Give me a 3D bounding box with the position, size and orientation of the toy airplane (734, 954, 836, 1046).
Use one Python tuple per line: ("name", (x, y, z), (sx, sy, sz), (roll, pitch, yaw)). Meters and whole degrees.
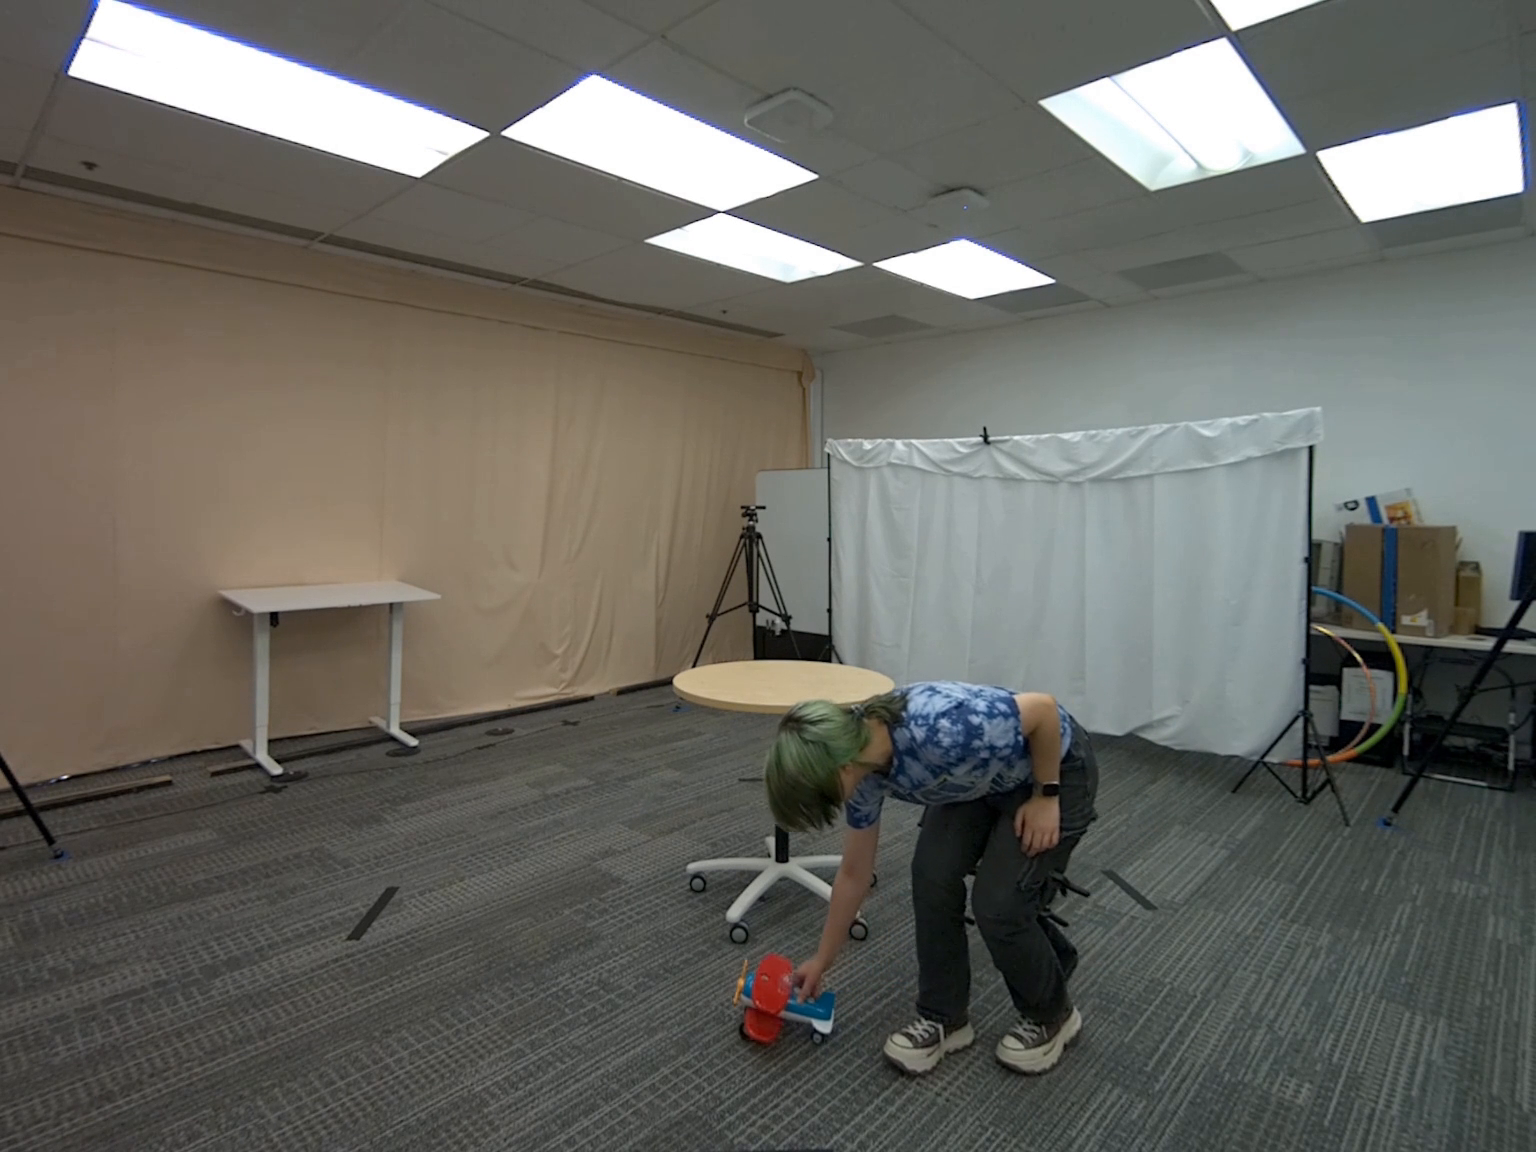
("toy airplane", (0.051, 1.135, 2.232), (0.254, 0.156, 0.256), (-3, 6, -19))
